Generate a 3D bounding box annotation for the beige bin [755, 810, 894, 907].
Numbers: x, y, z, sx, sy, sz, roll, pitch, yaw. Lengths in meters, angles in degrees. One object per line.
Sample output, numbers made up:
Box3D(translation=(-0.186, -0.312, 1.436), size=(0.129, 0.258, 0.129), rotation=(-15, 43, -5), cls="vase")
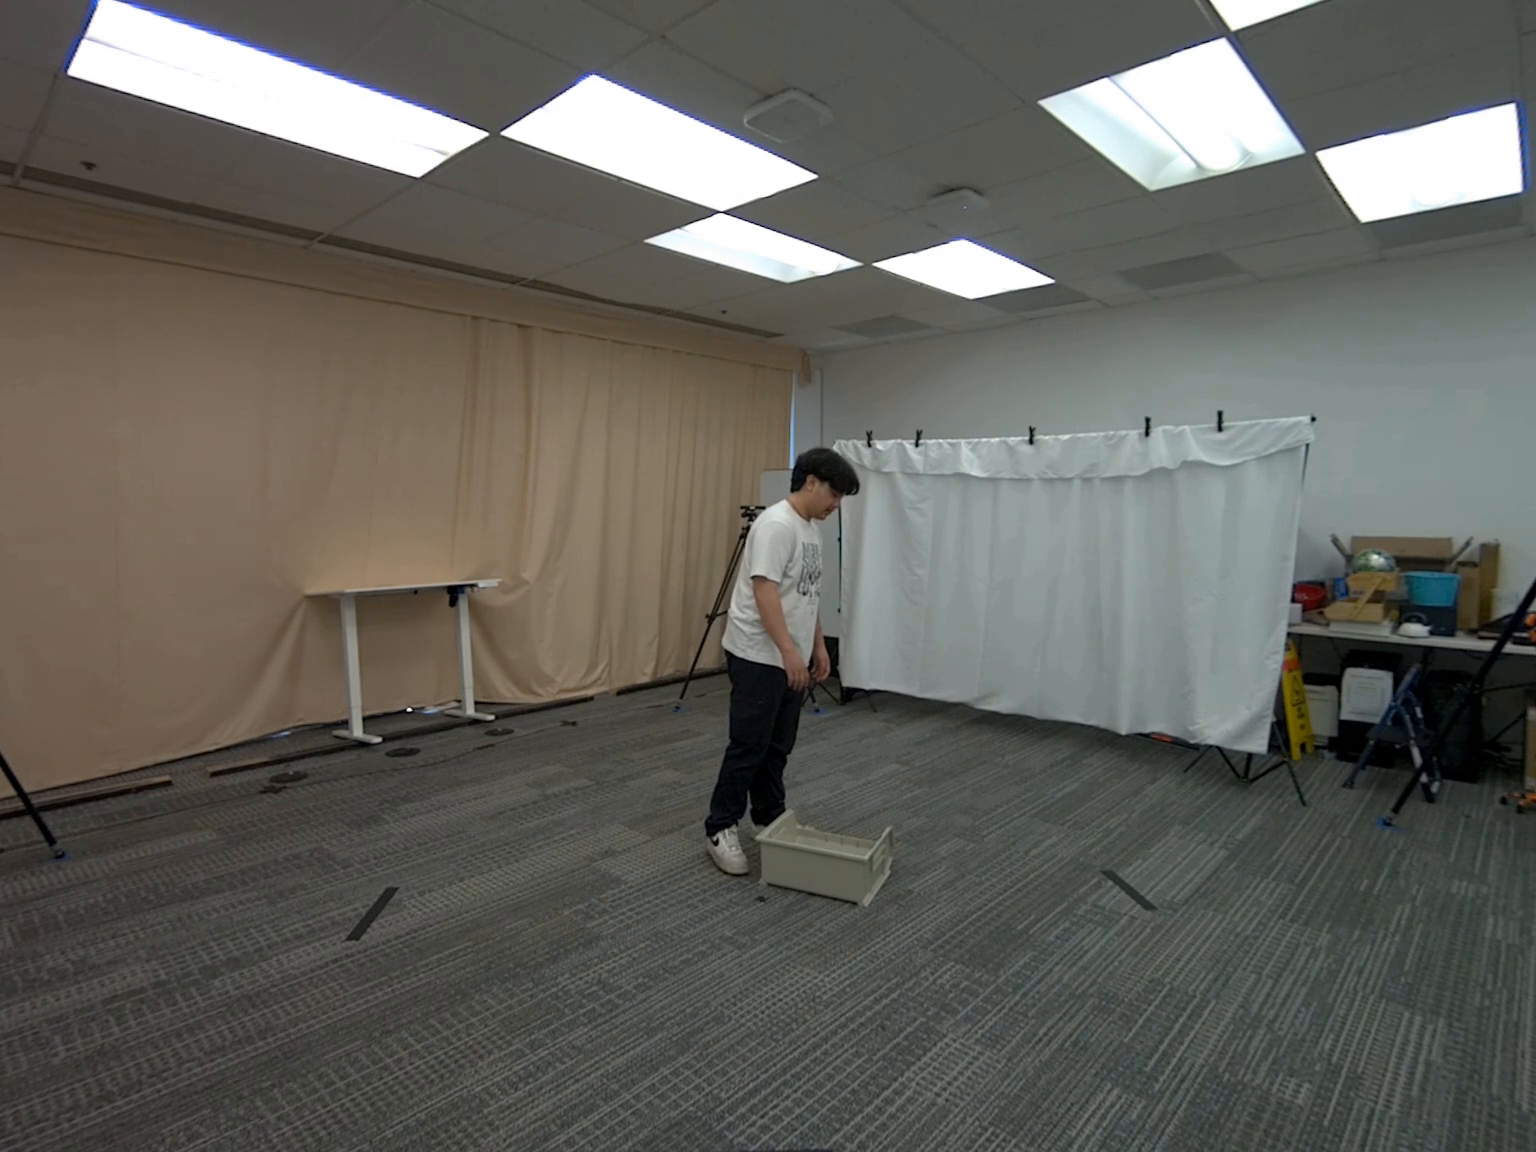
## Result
Box3D(translation=(0.225, 1.038, 3.160), size=(0.433, 0.188, 0.369), rotation=(2, 6, 25), cls="beige bin")
